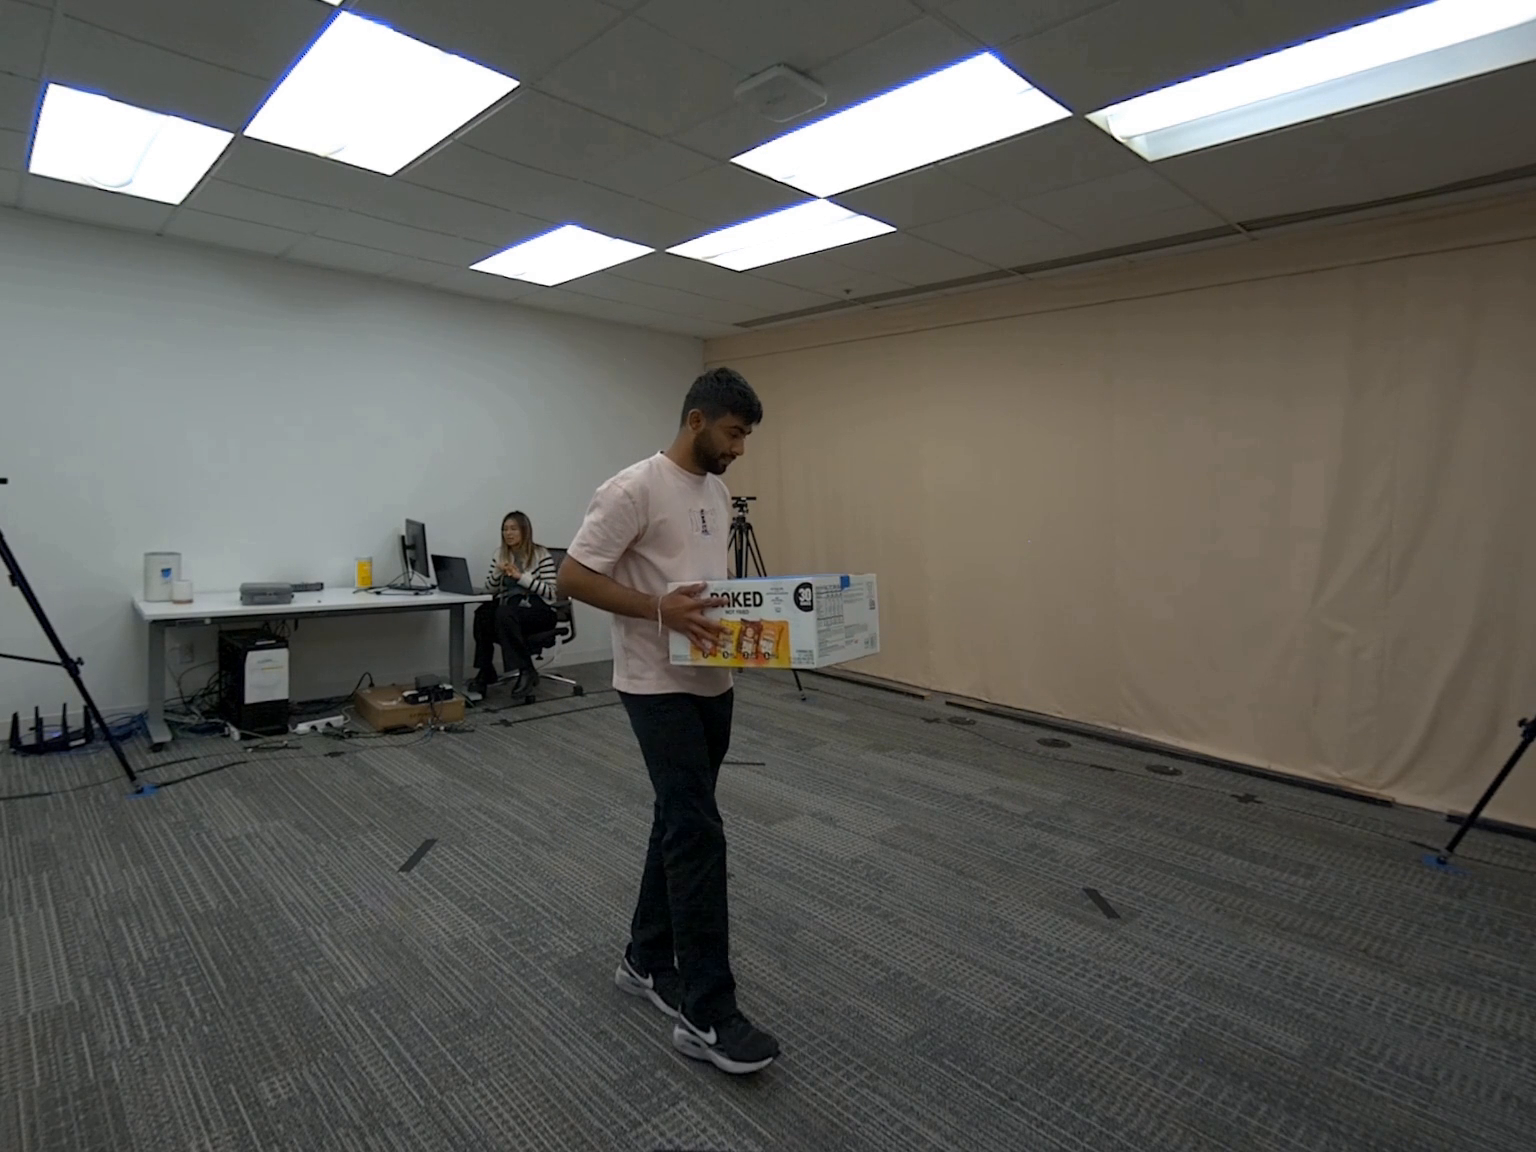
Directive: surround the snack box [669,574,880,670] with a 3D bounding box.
[{"bbox_3d":[0.017,0.108,2.077,0.413,0.206,0.333,-2,0,31],"label":"snack box"}]
